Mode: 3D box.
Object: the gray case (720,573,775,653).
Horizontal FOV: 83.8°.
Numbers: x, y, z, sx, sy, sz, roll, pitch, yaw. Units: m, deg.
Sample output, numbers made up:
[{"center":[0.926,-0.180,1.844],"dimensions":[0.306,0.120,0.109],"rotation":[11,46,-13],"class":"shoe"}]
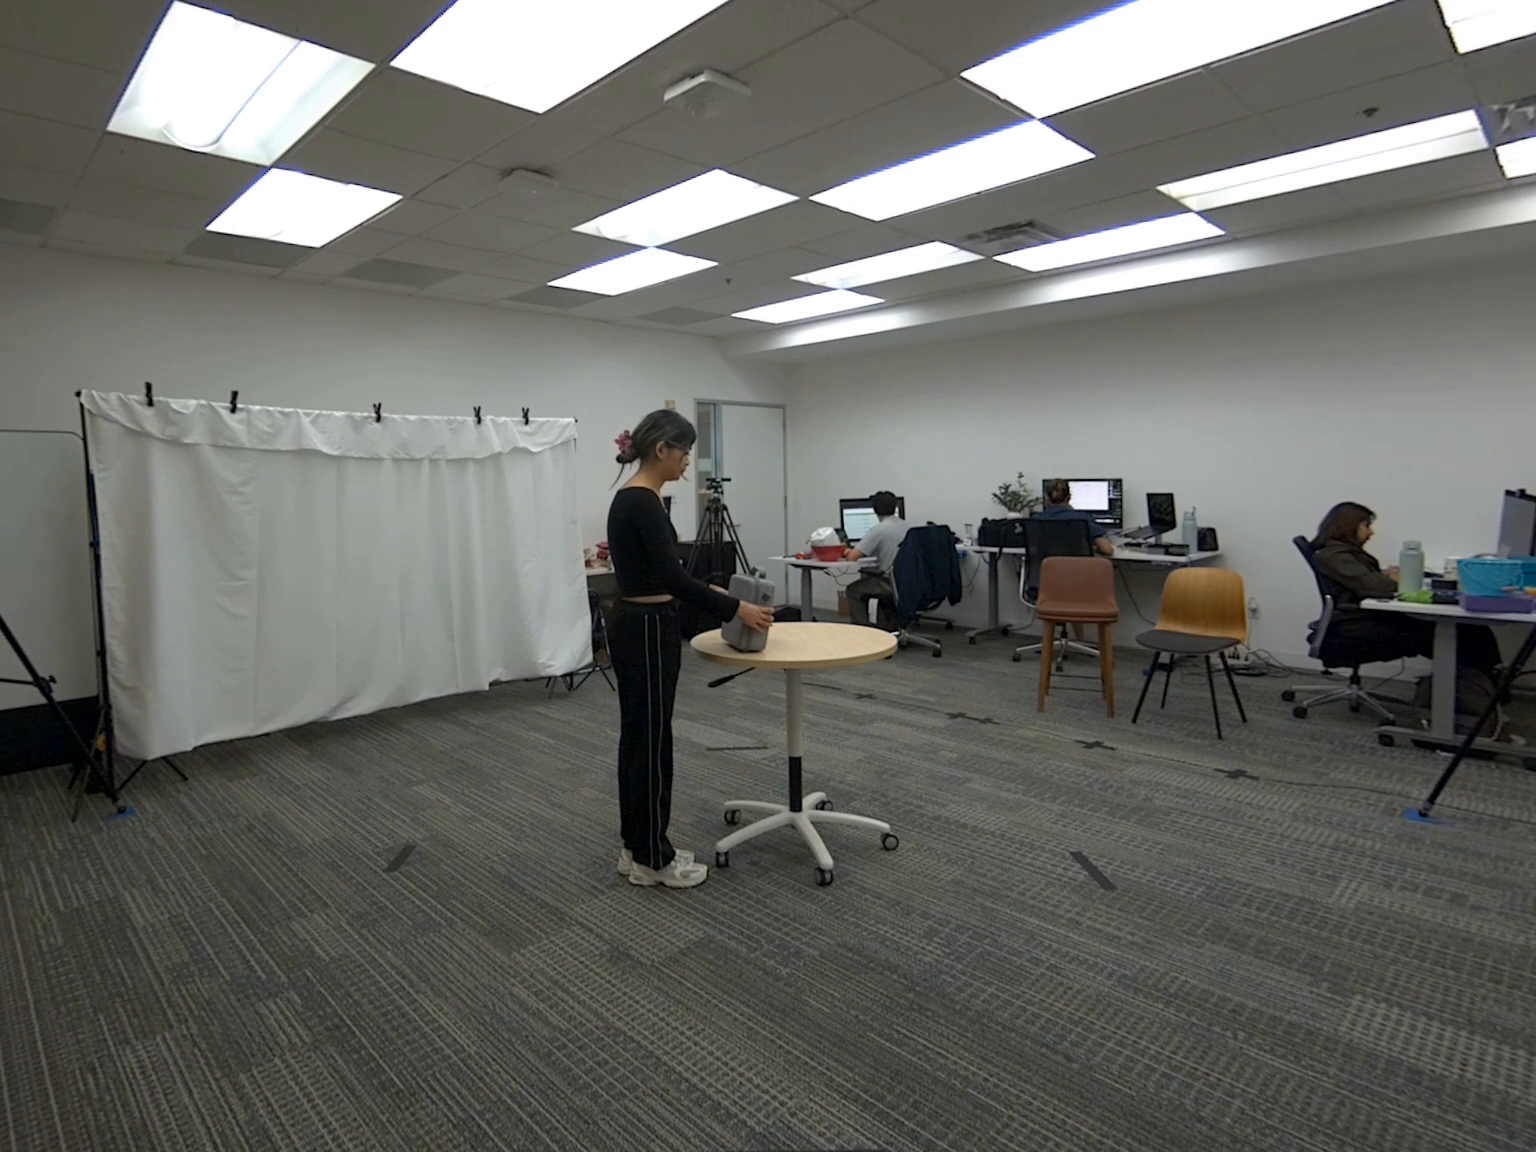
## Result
[{"center":[-0.076,0.127,3.058],"dimensions":[0.102,0.260,0.262],"rotation":[8,2,-18],"class":"gray case"}]
